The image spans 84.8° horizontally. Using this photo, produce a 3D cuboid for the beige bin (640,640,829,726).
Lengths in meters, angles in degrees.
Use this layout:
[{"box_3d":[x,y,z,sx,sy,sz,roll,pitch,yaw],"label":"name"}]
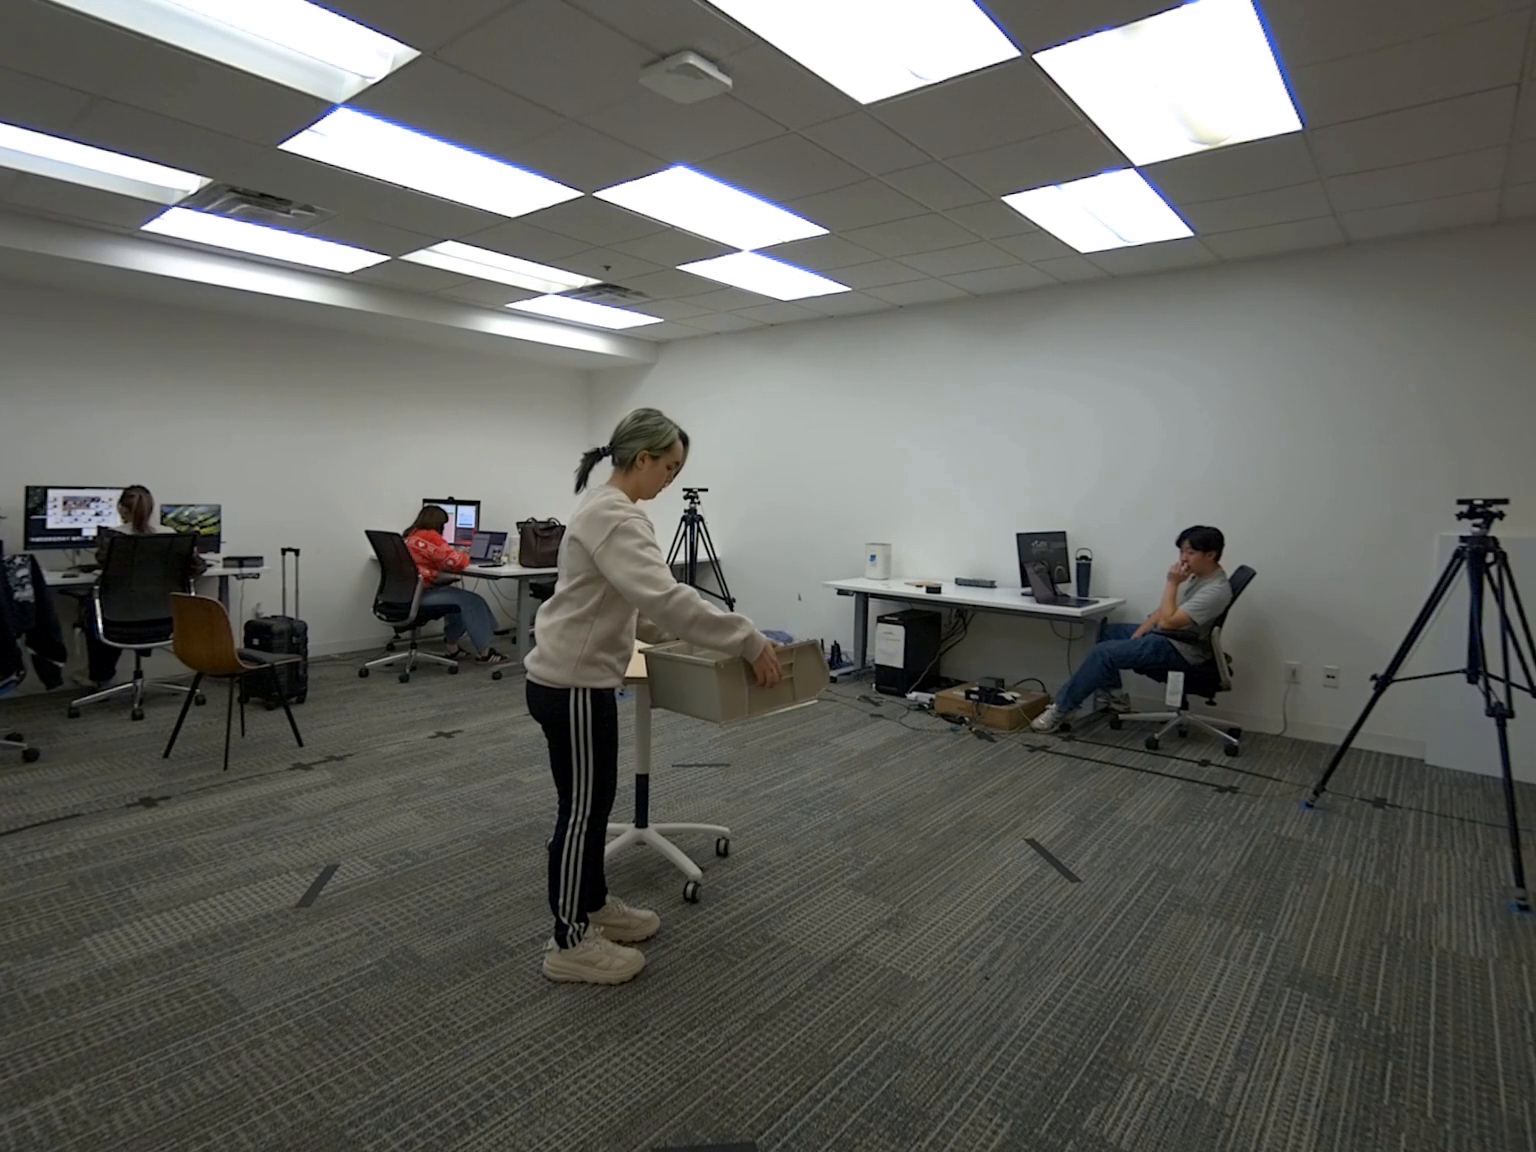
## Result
[{"box_3d":[-0.112,0.282,2.439,0.368,0.188,0.435,-10,6,-34],"label":"beige bin"}]
